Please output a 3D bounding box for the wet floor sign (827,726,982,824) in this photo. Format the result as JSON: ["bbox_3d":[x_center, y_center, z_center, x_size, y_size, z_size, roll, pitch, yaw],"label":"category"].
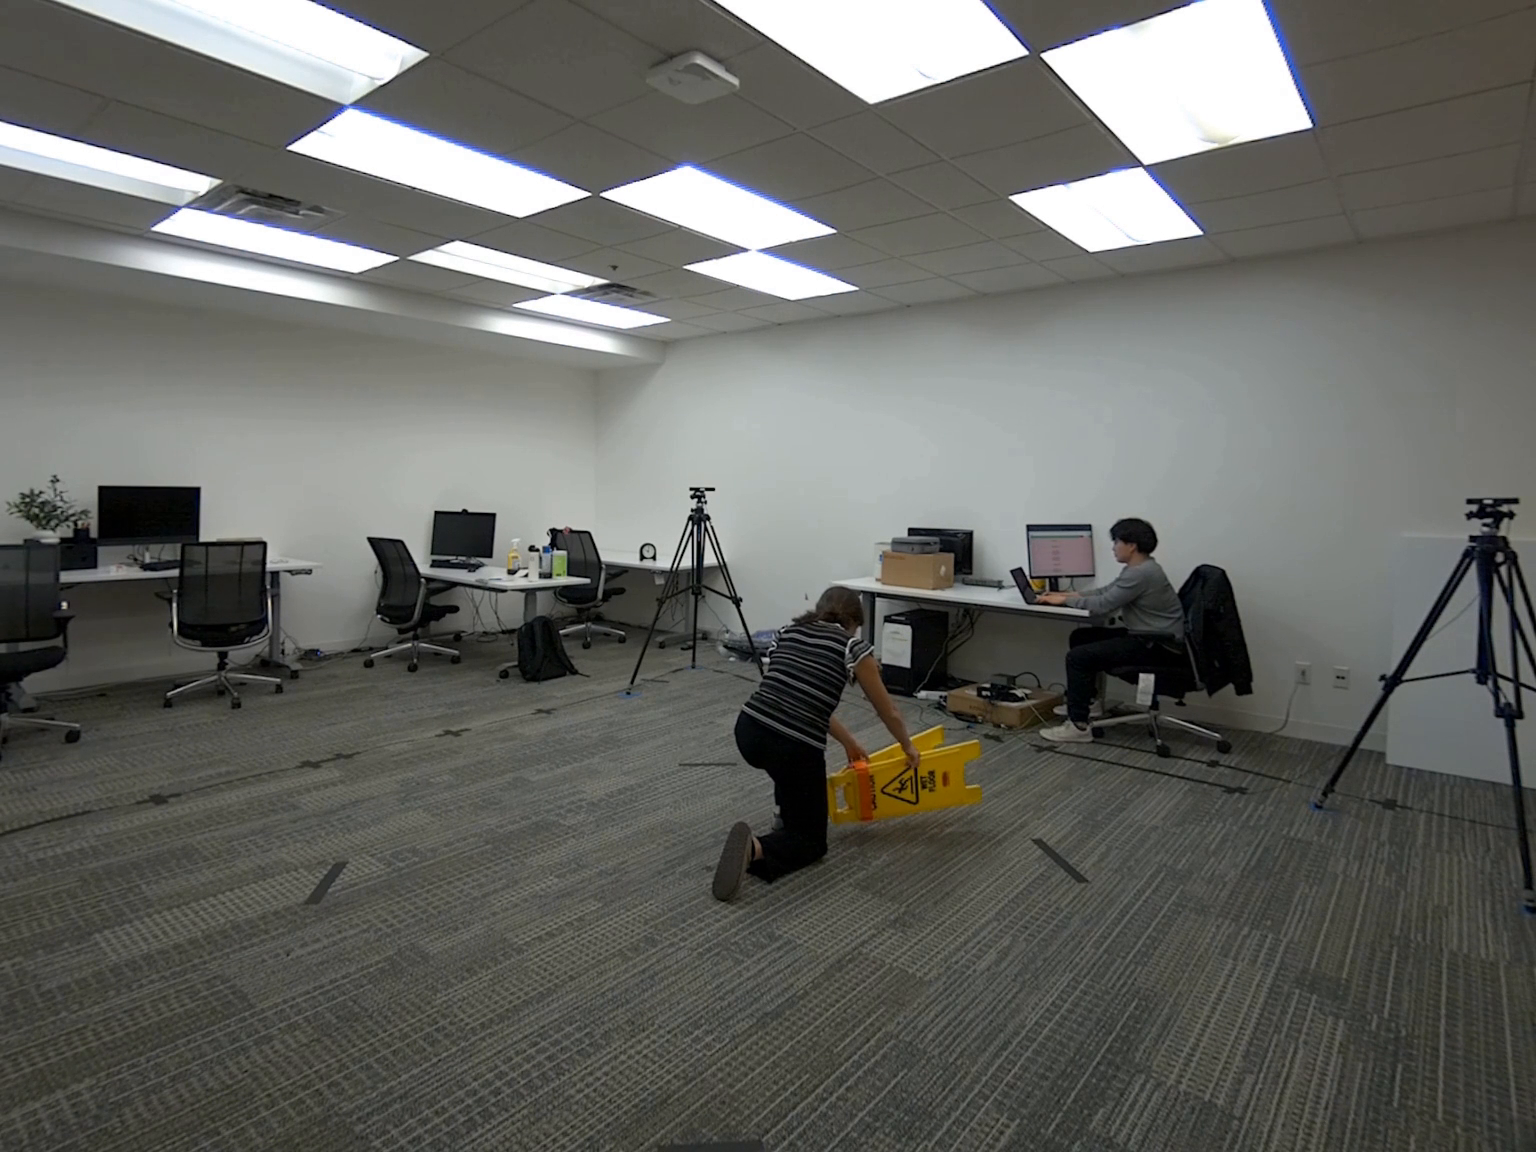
[{"bbox_3d":[0.529,0.854,3.532,0.635,0.280,0.297,-10,8,-20],"label":"wet floor sign"}]
